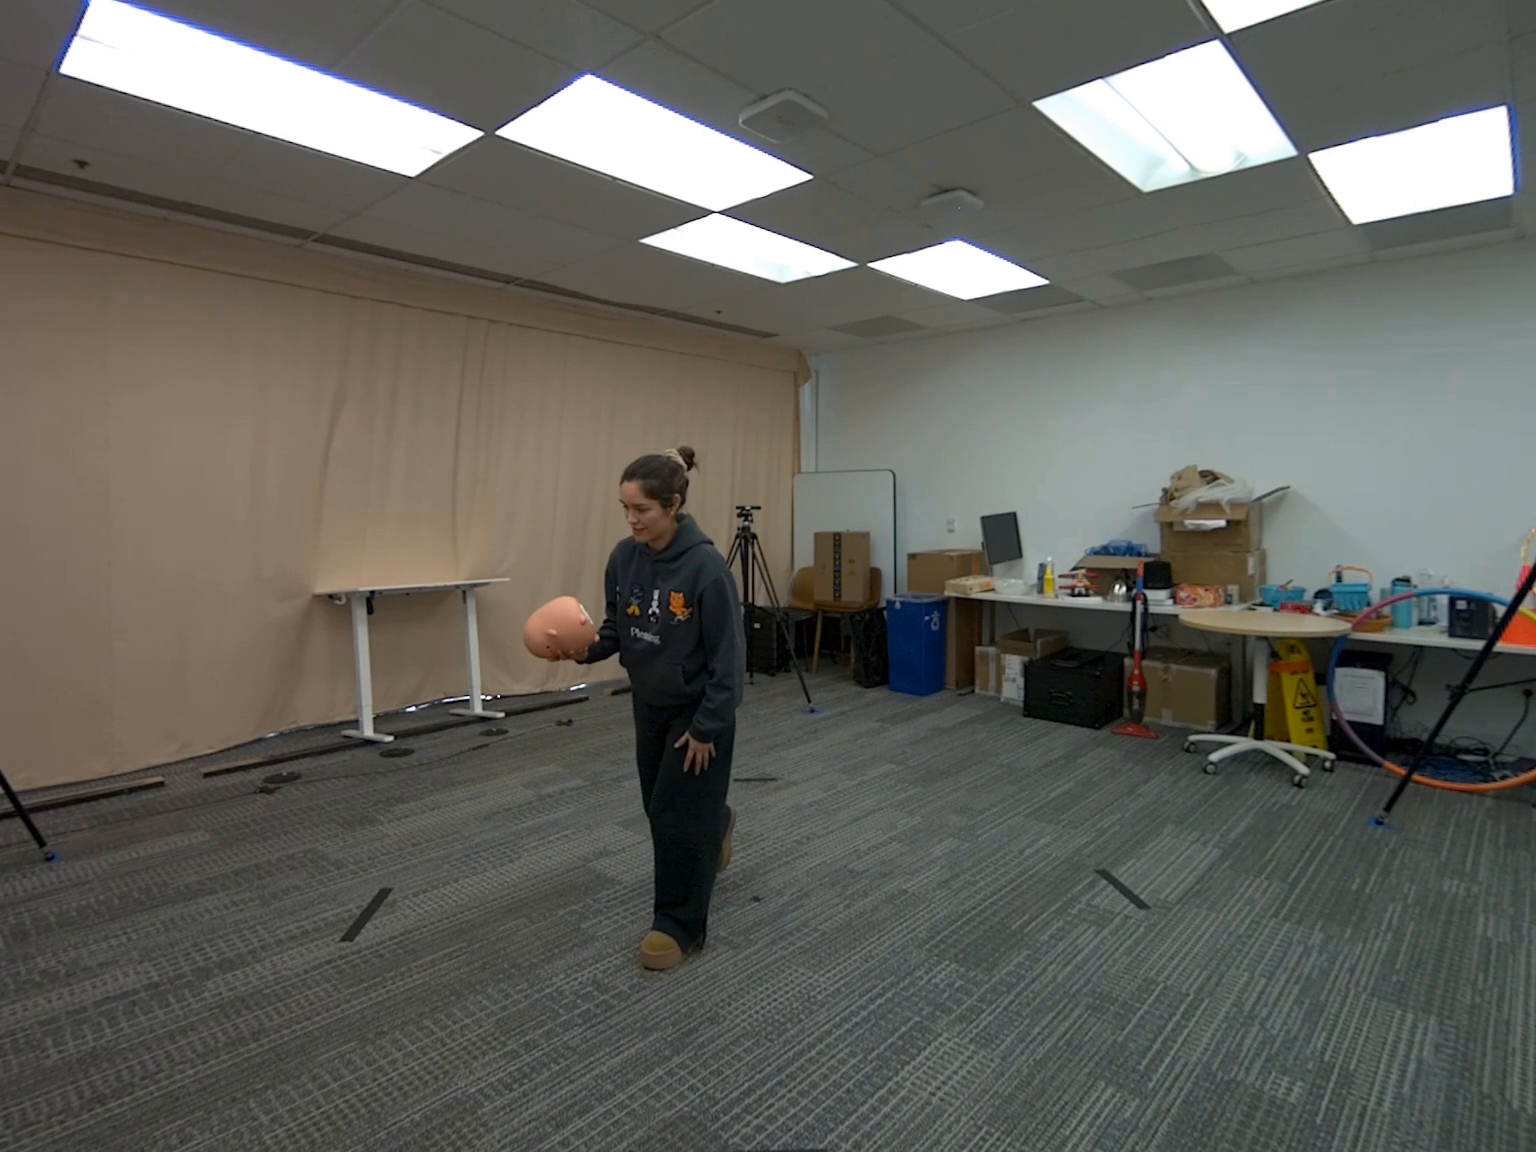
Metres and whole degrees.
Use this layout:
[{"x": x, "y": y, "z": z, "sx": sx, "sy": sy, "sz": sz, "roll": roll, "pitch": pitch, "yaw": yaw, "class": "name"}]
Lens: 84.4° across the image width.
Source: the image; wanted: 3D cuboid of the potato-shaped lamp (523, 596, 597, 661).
[{"x": -0.603, "y": 0.170, "z": 2.445, "sx": 0.197, "sy": 0.177, "sz": 0.160, "roll": -31, "pitch": -34, "yaw": -7, "class": "potato-shaped lamp"}]
